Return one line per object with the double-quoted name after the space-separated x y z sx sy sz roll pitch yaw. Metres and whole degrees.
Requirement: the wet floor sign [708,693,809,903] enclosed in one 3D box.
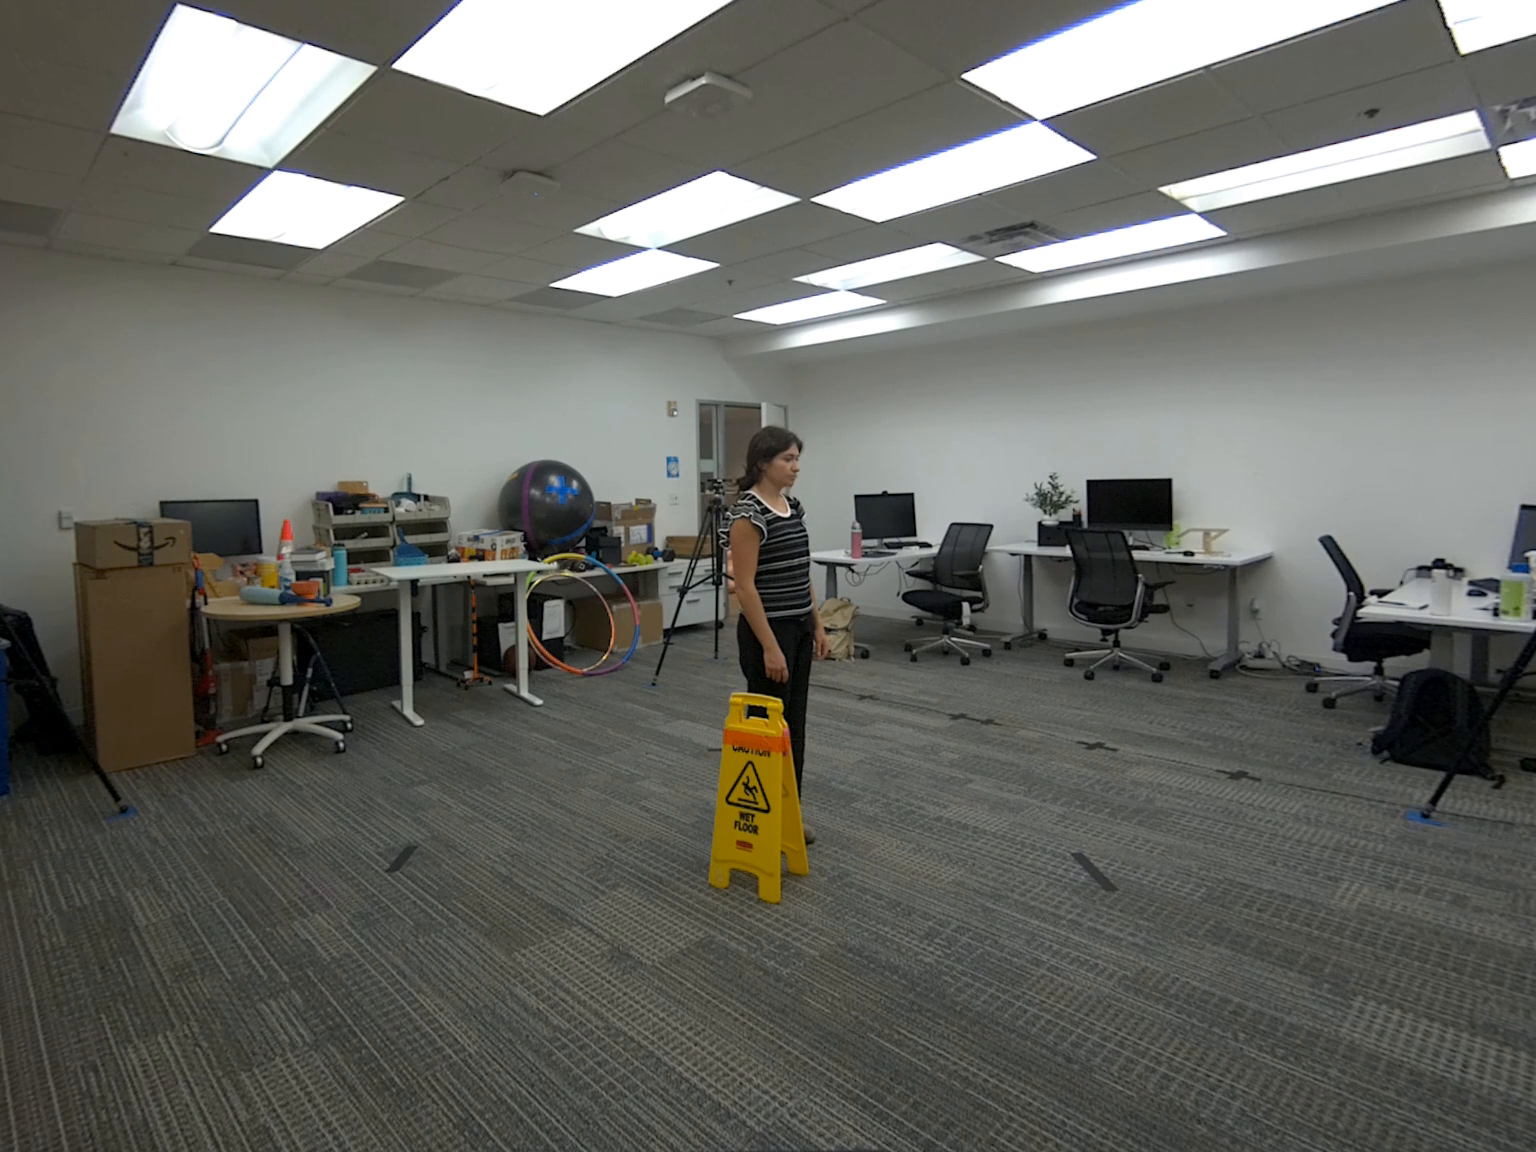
-0.034 0.739 2.955 0.289 0.643 0.283 1 5 30 "wet floor sign"
